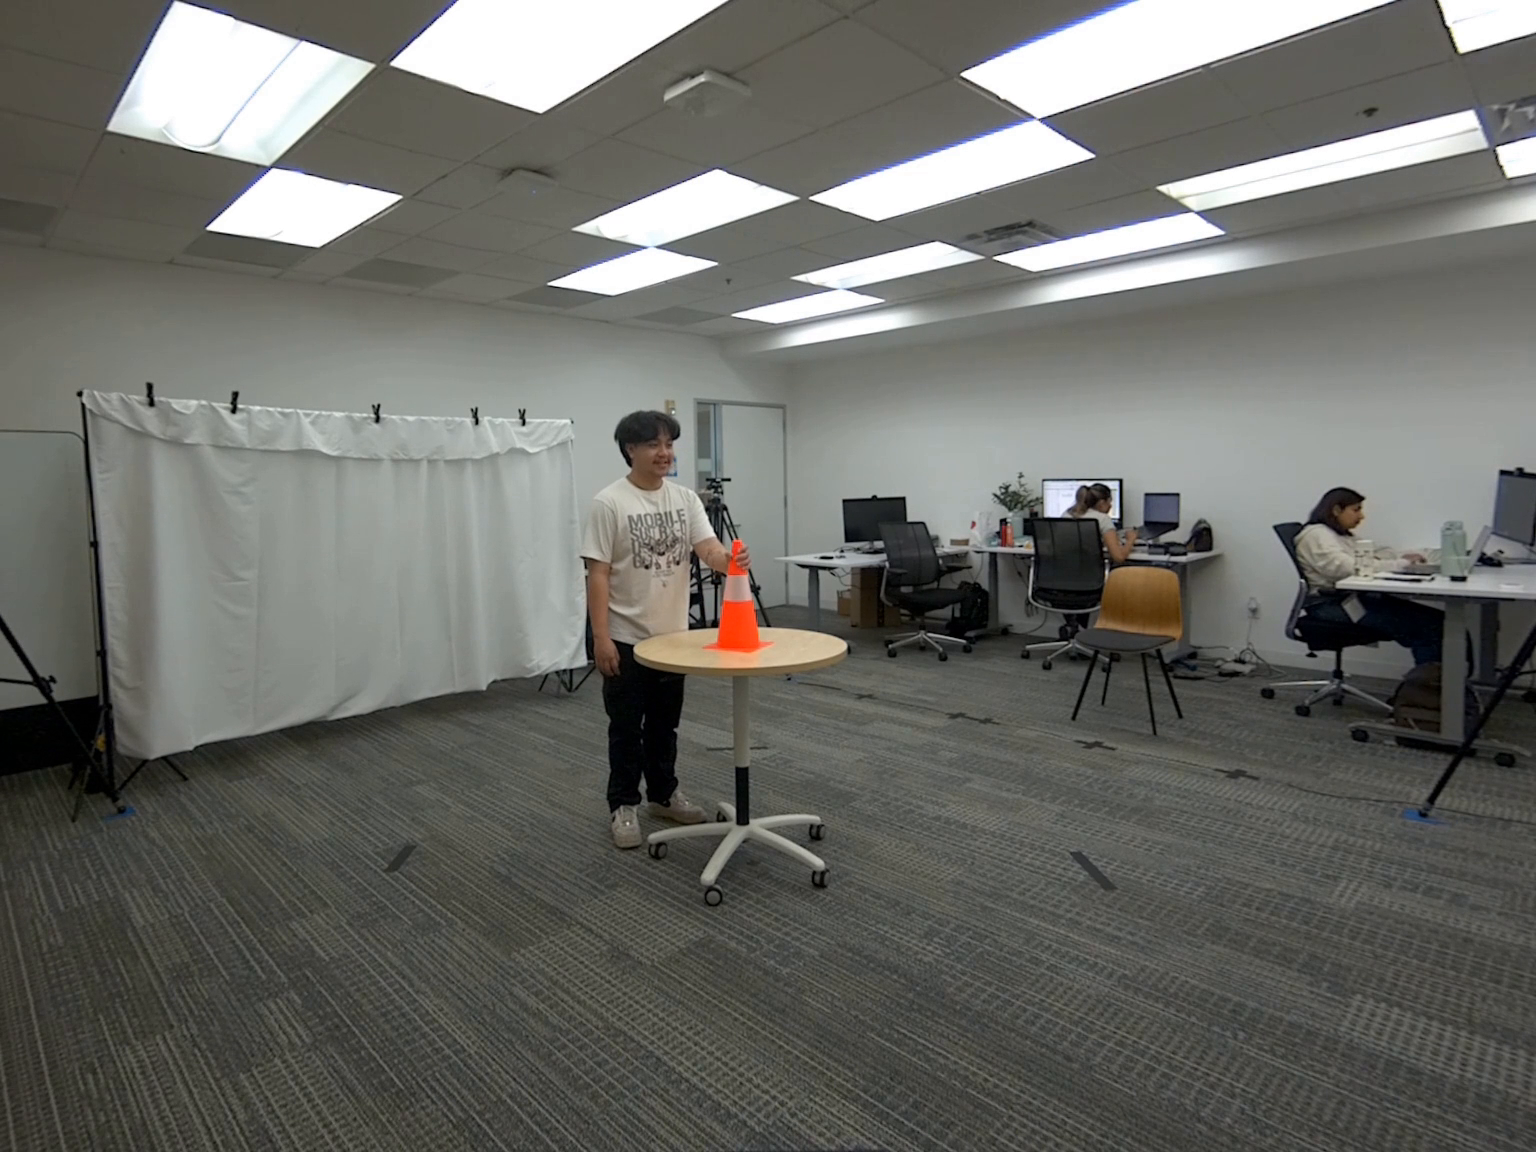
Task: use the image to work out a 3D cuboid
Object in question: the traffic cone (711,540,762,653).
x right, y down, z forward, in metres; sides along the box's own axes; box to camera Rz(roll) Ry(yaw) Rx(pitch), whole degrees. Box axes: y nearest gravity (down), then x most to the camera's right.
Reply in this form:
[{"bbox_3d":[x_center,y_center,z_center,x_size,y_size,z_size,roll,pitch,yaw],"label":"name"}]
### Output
[{"bbox_3d":[-0.111,0.064,3.052,0.208,0.381,0.201,1,7,28],"label":"traffic cone"}]
